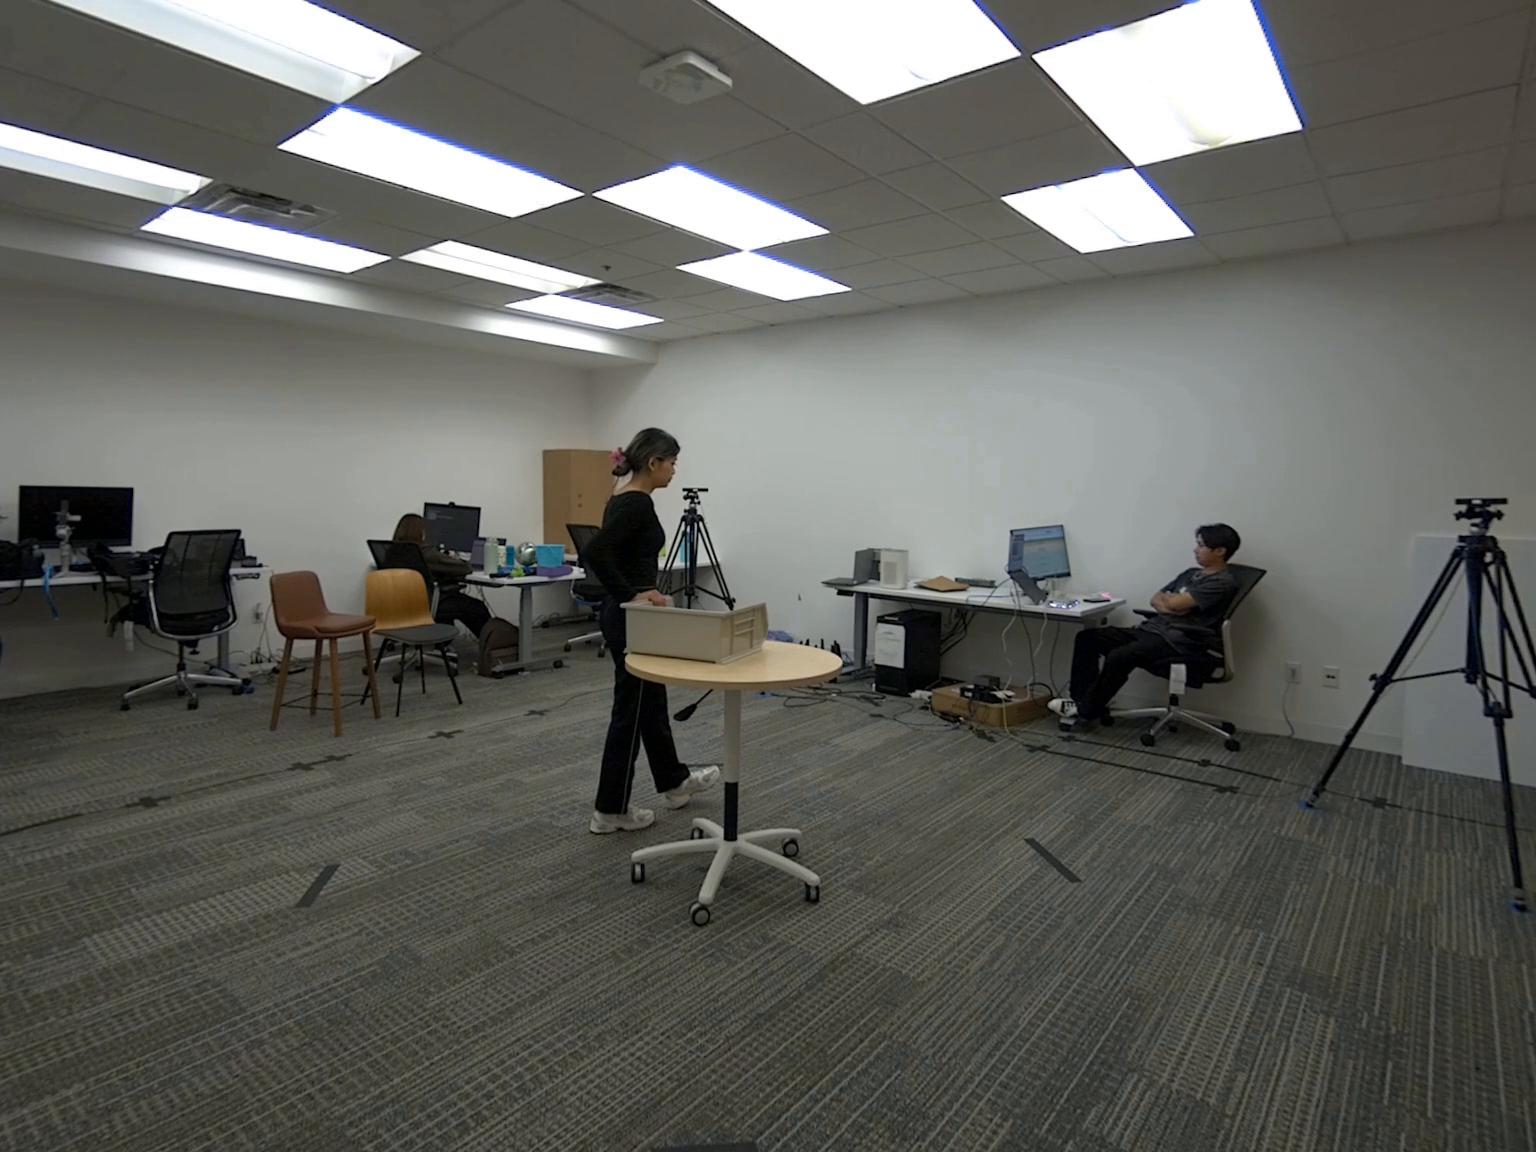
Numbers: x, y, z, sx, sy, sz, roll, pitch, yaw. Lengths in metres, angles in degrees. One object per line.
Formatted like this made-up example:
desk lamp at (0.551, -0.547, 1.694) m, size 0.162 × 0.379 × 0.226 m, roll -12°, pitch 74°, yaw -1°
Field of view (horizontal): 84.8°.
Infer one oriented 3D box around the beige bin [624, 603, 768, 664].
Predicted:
beige bin at (-0.274, 0.184, 3.131) m, size 0.433 × 0.188 × 0.369 m, roll 4°, pitch 8°, yaw 25°
